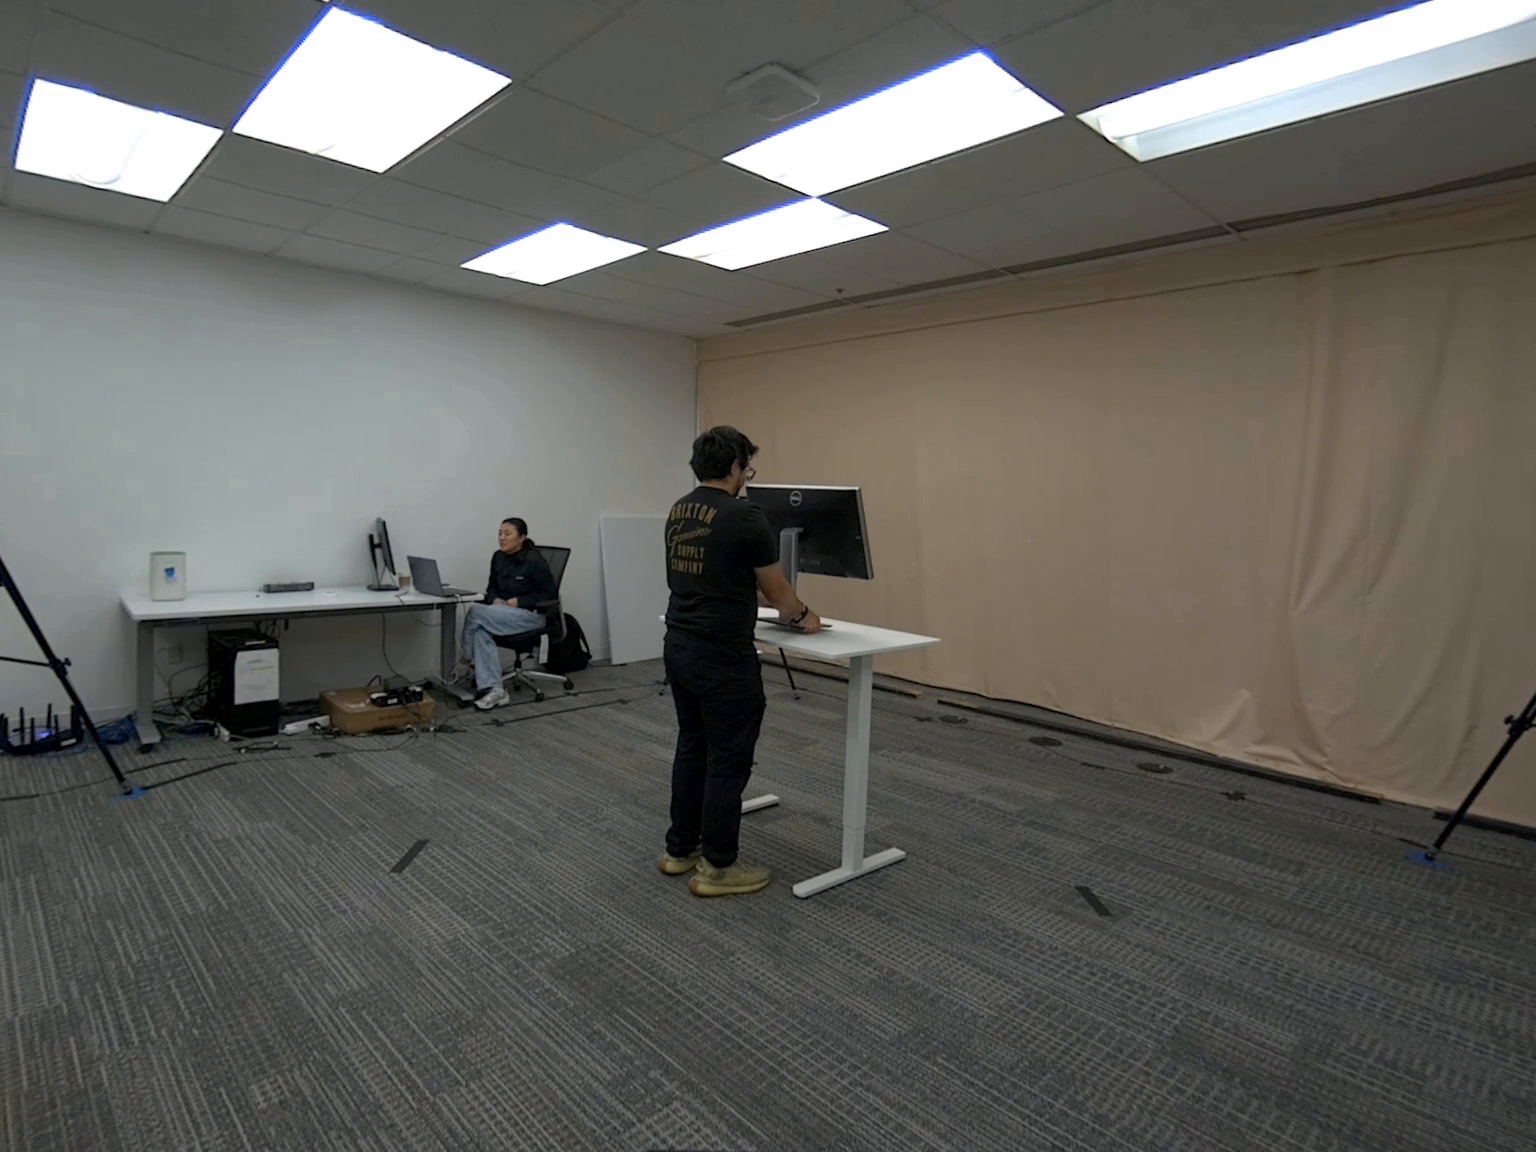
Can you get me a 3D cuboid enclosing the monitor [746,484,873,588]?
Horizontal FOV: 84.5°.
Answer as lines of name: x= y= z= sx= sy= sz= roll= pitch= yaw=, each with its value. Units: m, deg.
monitor: x=0.104 y=-0.076 z=3.279 sx=0.580 sy=0.549 sz=0.206 roll=7 pitch=15 yaw=42
